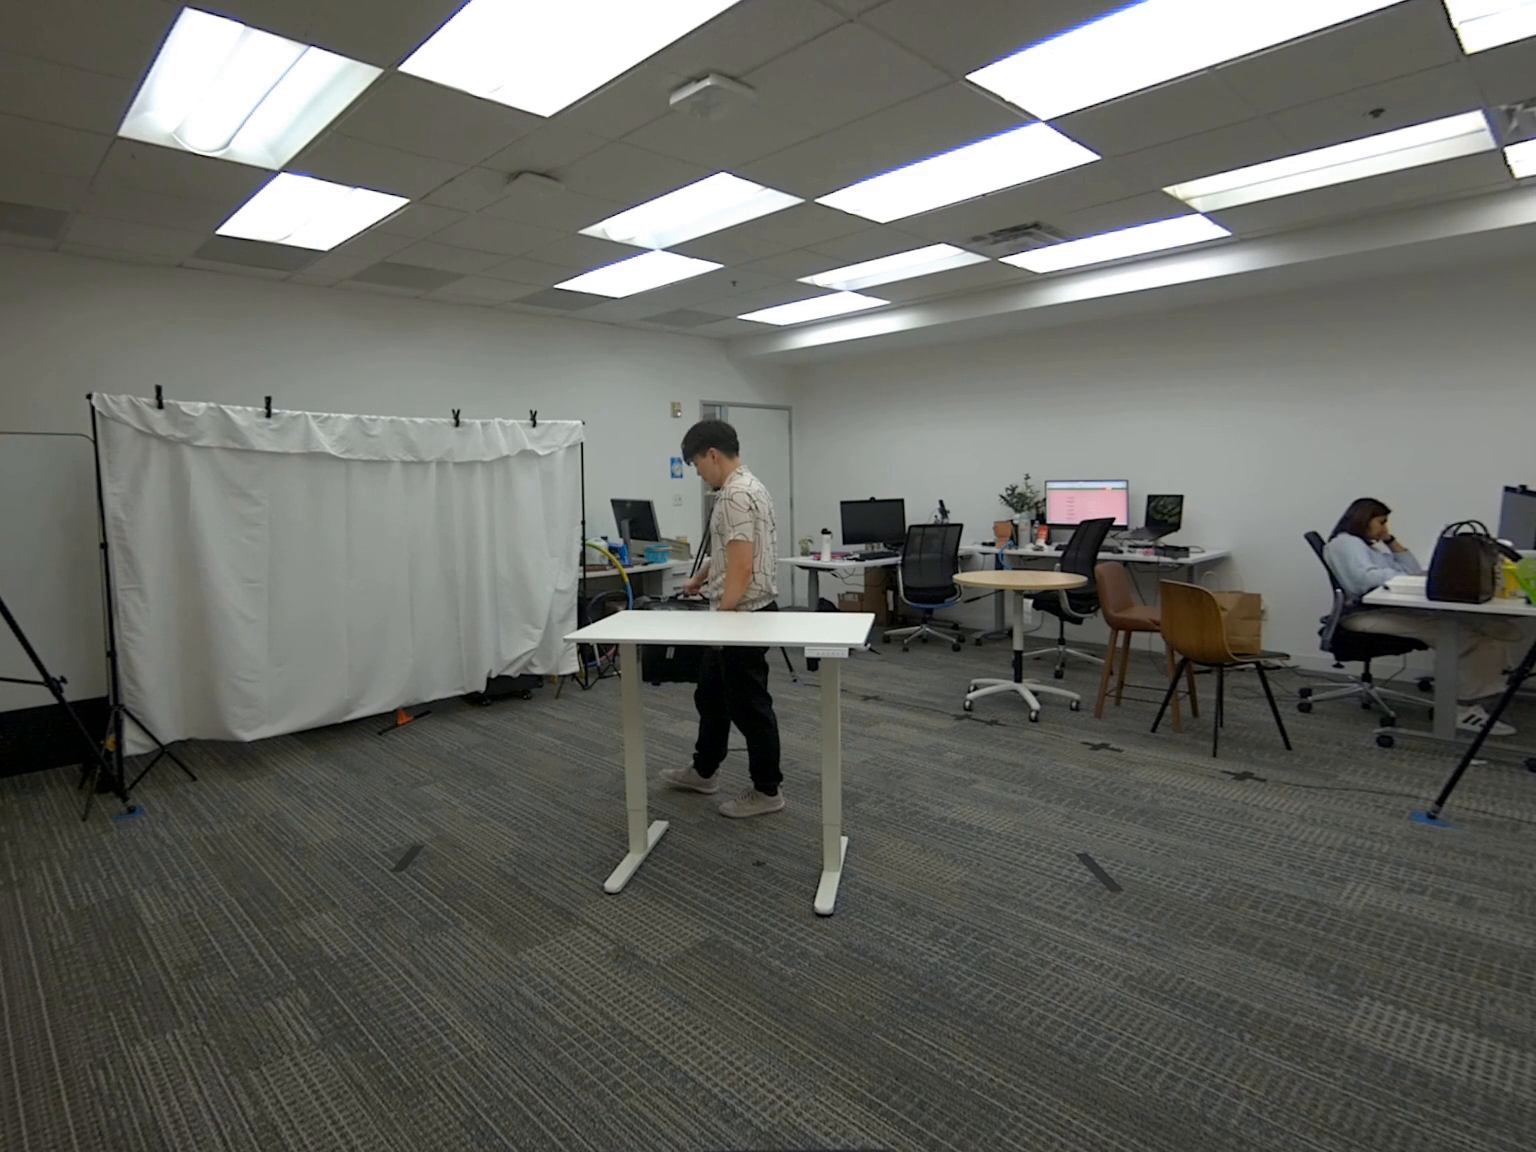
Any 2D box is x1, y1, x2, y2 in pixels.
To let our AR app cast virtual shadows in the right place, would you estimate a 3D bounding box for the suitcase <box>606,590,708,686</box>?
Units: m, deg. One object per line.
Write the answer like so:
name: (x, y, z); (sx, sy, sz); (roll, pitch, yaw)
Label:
suitcase: (-0.373, 0.295, 3.938); (0.534, 0.372, 0.257); (5, 14, -31)
